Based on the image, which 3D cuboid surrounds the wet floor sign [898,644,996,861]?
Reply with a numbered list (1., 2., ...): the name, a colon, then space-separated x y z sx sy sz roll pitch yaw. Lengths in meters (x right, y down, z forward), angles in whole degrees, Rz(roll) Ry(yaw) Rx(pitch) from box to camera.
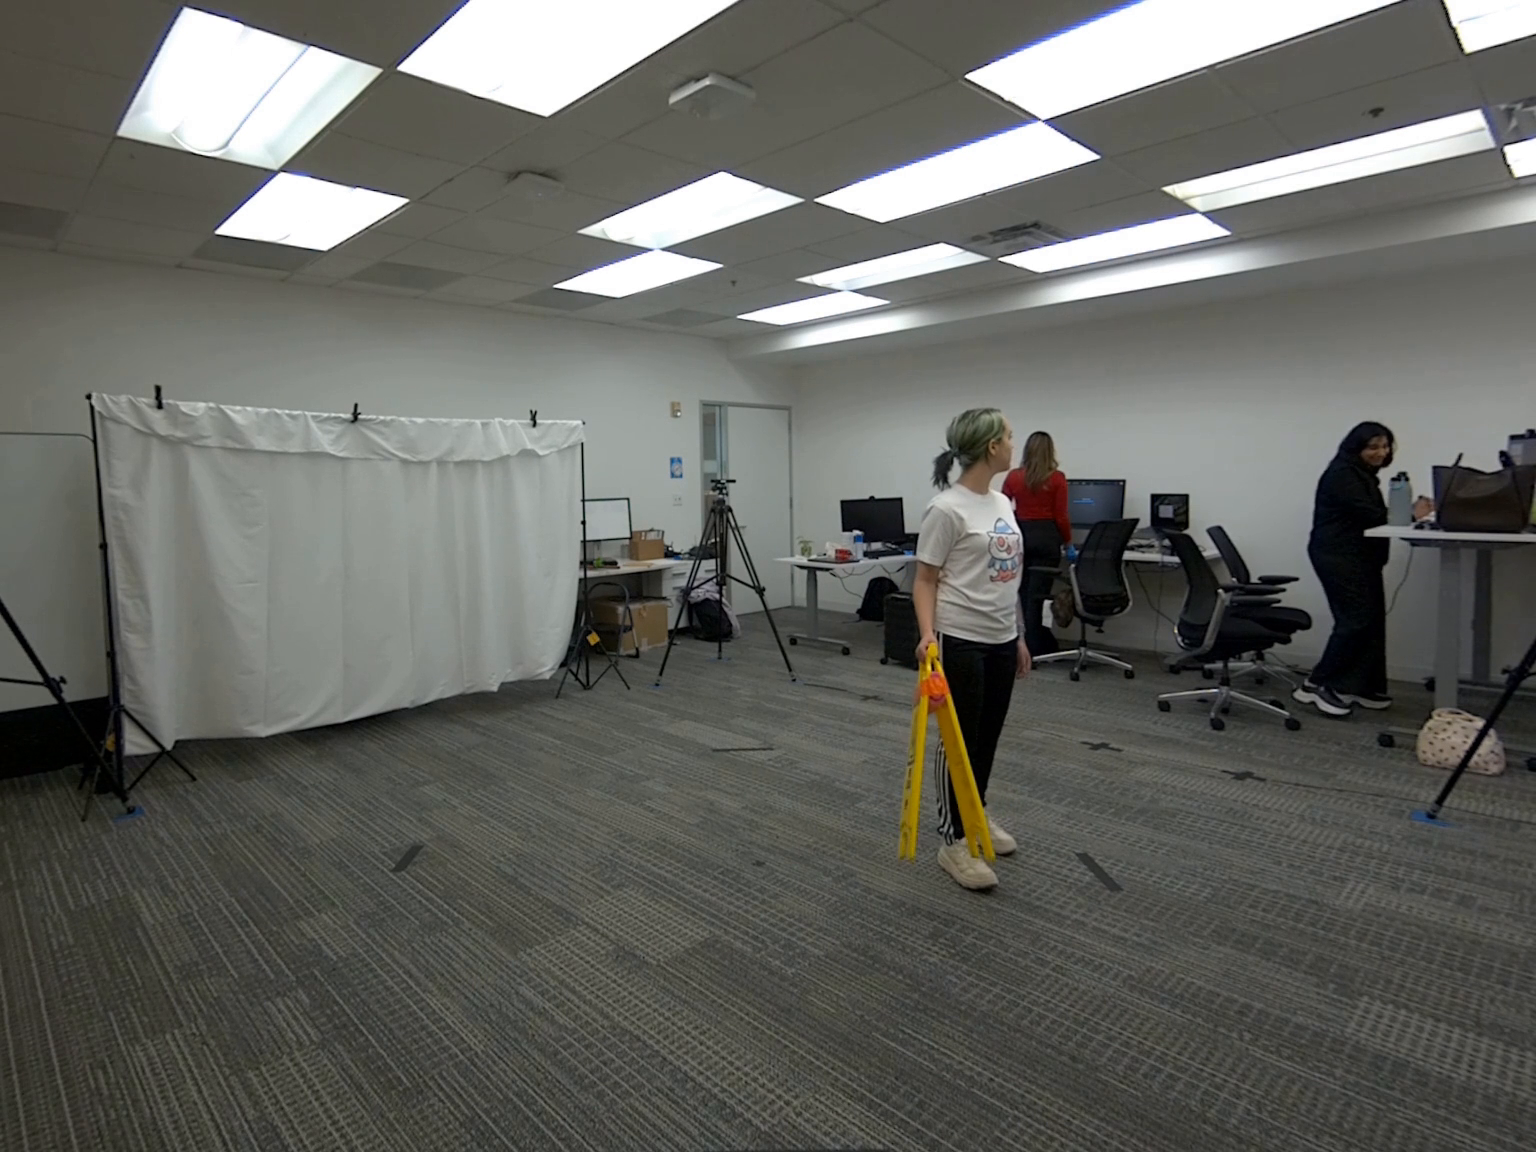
1. wet floor sign: 0.538 0.554 2.704 0.290 0.656 0.277 -1 -17 2
